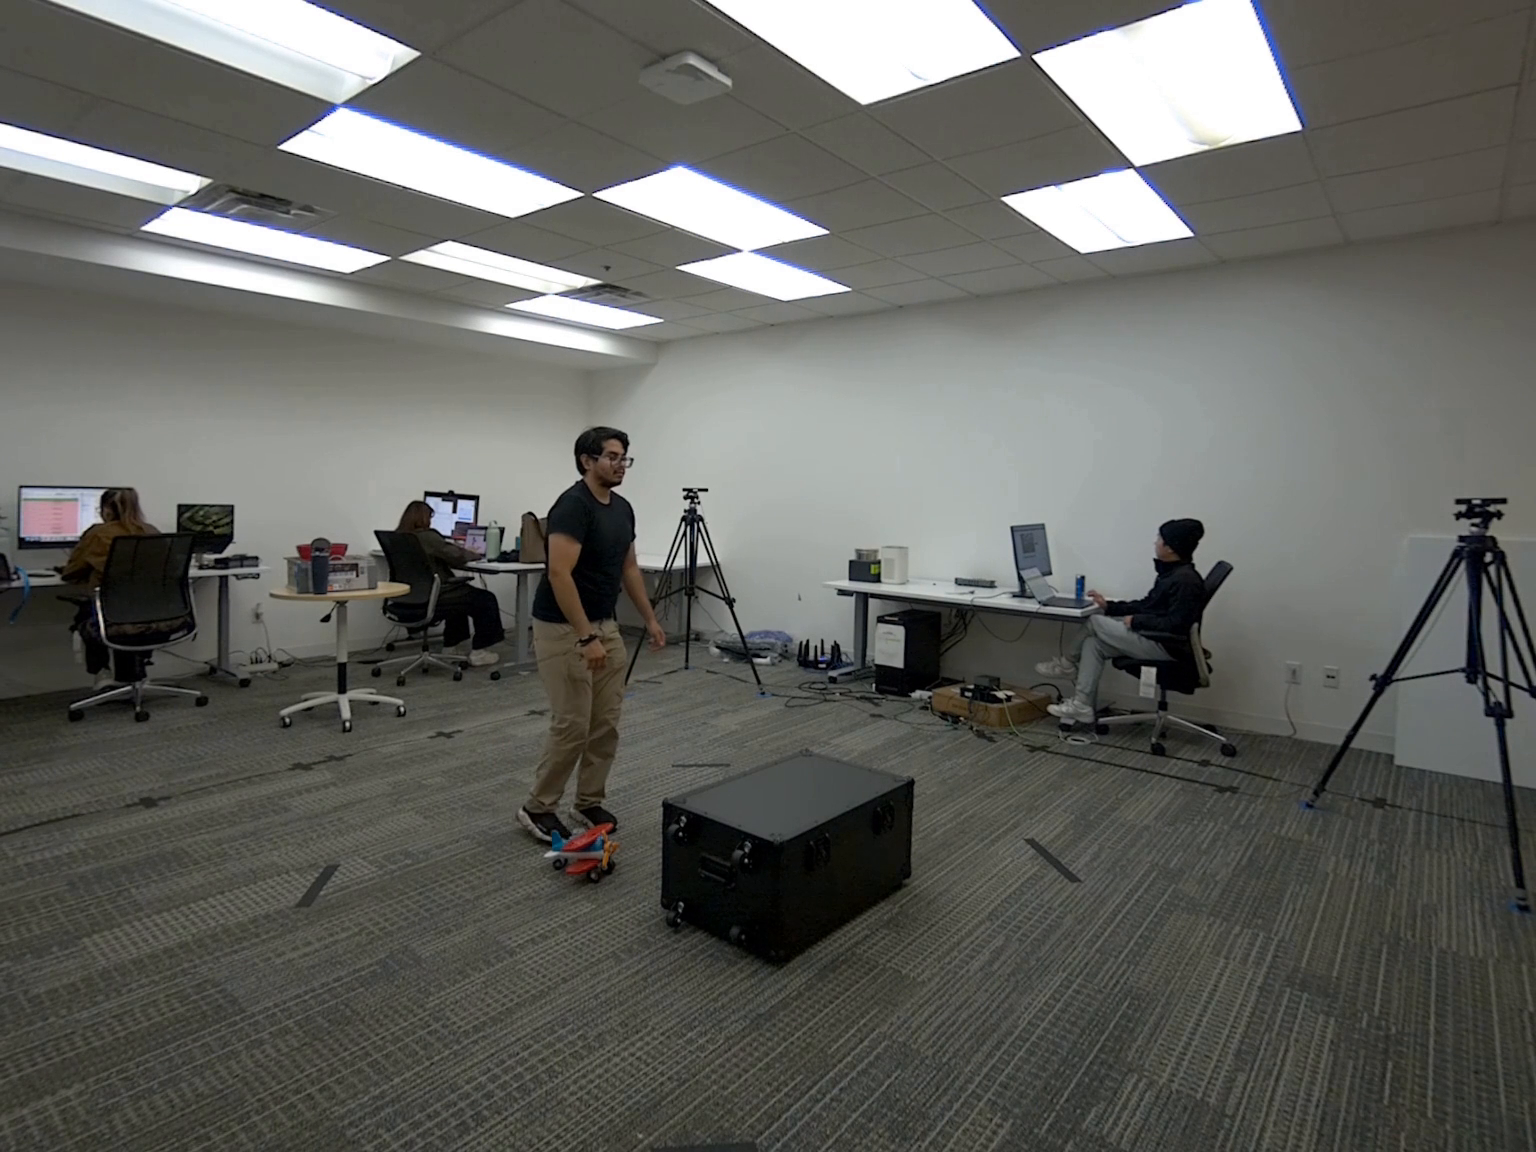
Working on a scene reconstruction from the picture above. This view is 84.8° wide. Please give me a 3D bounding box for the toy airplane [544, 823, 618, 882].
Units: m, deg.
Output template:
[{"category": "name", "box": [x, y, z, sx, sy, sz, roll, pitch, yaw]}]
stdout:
[{"category": "toy airplane", "box": [-0.686, 0.994, 3.048, 0.258, 0.156, 0.253, 2, 6, -4]}]
